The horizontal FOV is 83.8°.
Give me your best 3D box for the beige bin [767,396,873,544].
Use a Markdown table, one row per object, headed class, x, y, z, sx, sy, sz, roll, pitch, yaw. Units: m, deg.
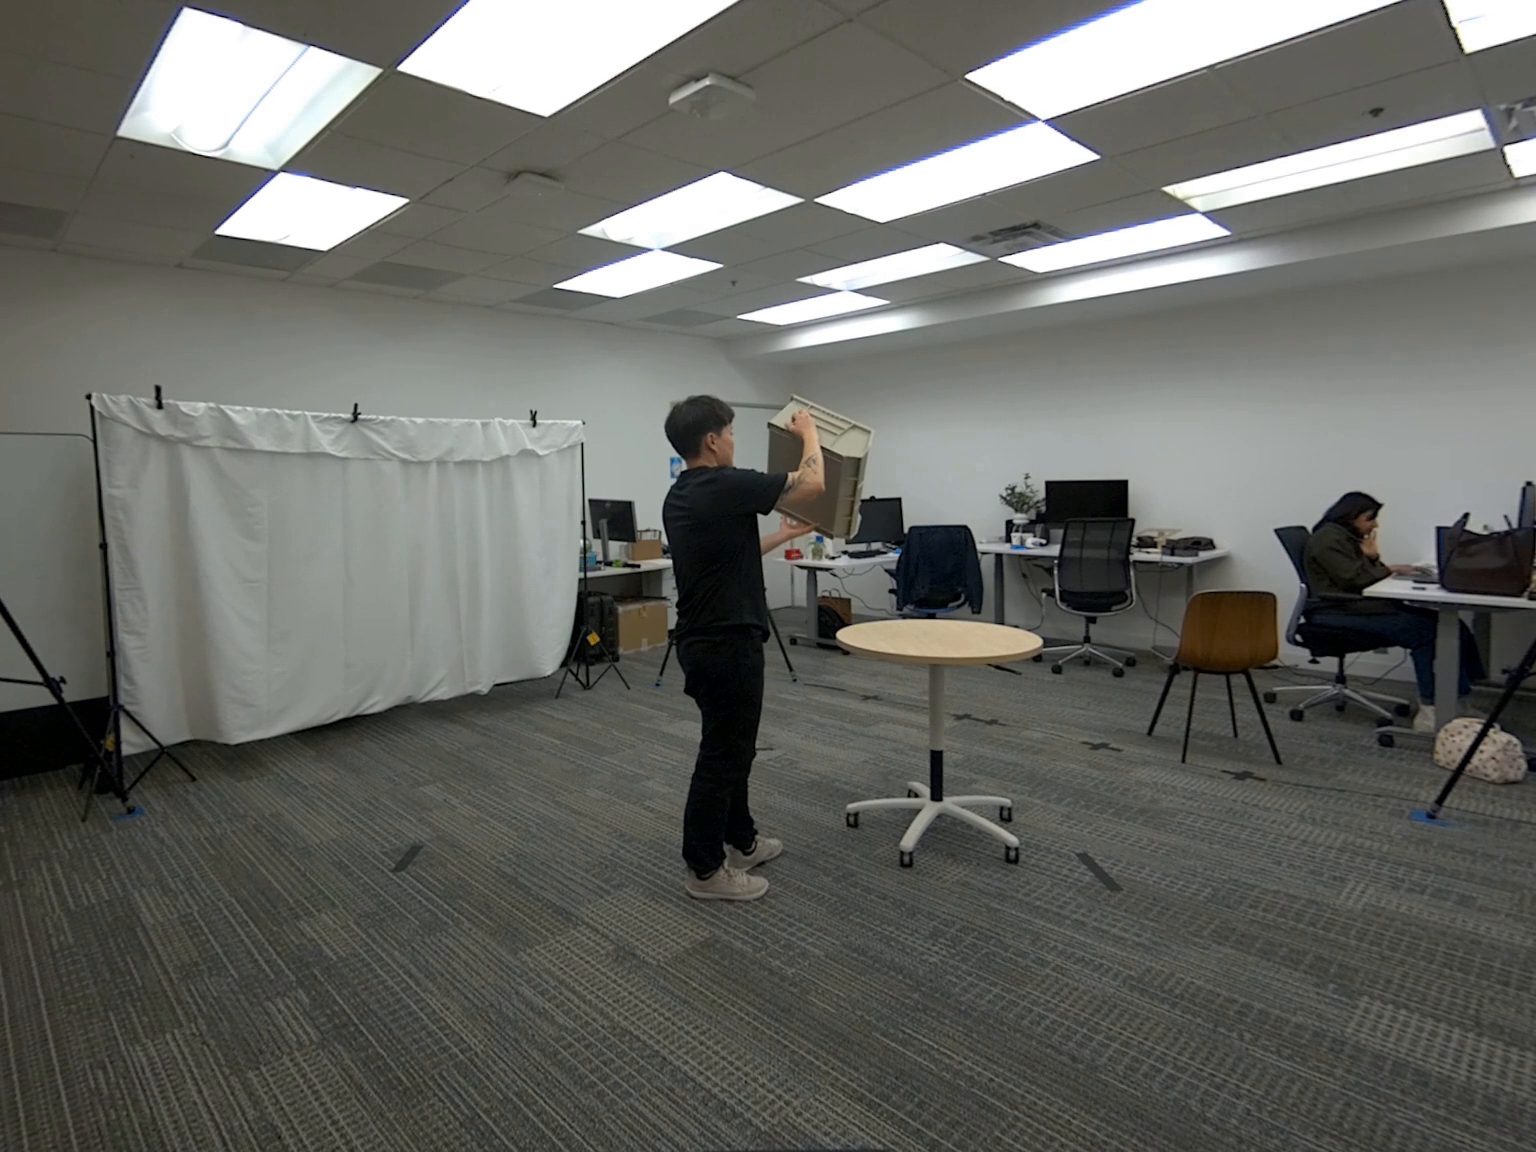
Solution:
| class | x | y | z | sx | sy | sz | roll | pitch | yaw |
| --- | --- | --- | --- | --- | --- | --- | --- | --- | --- |
| beige bin | 0.186 | -0.380 | 3.127 | 0.388 | 0.411 | 0.188 | 29 | 53 | 23 |
